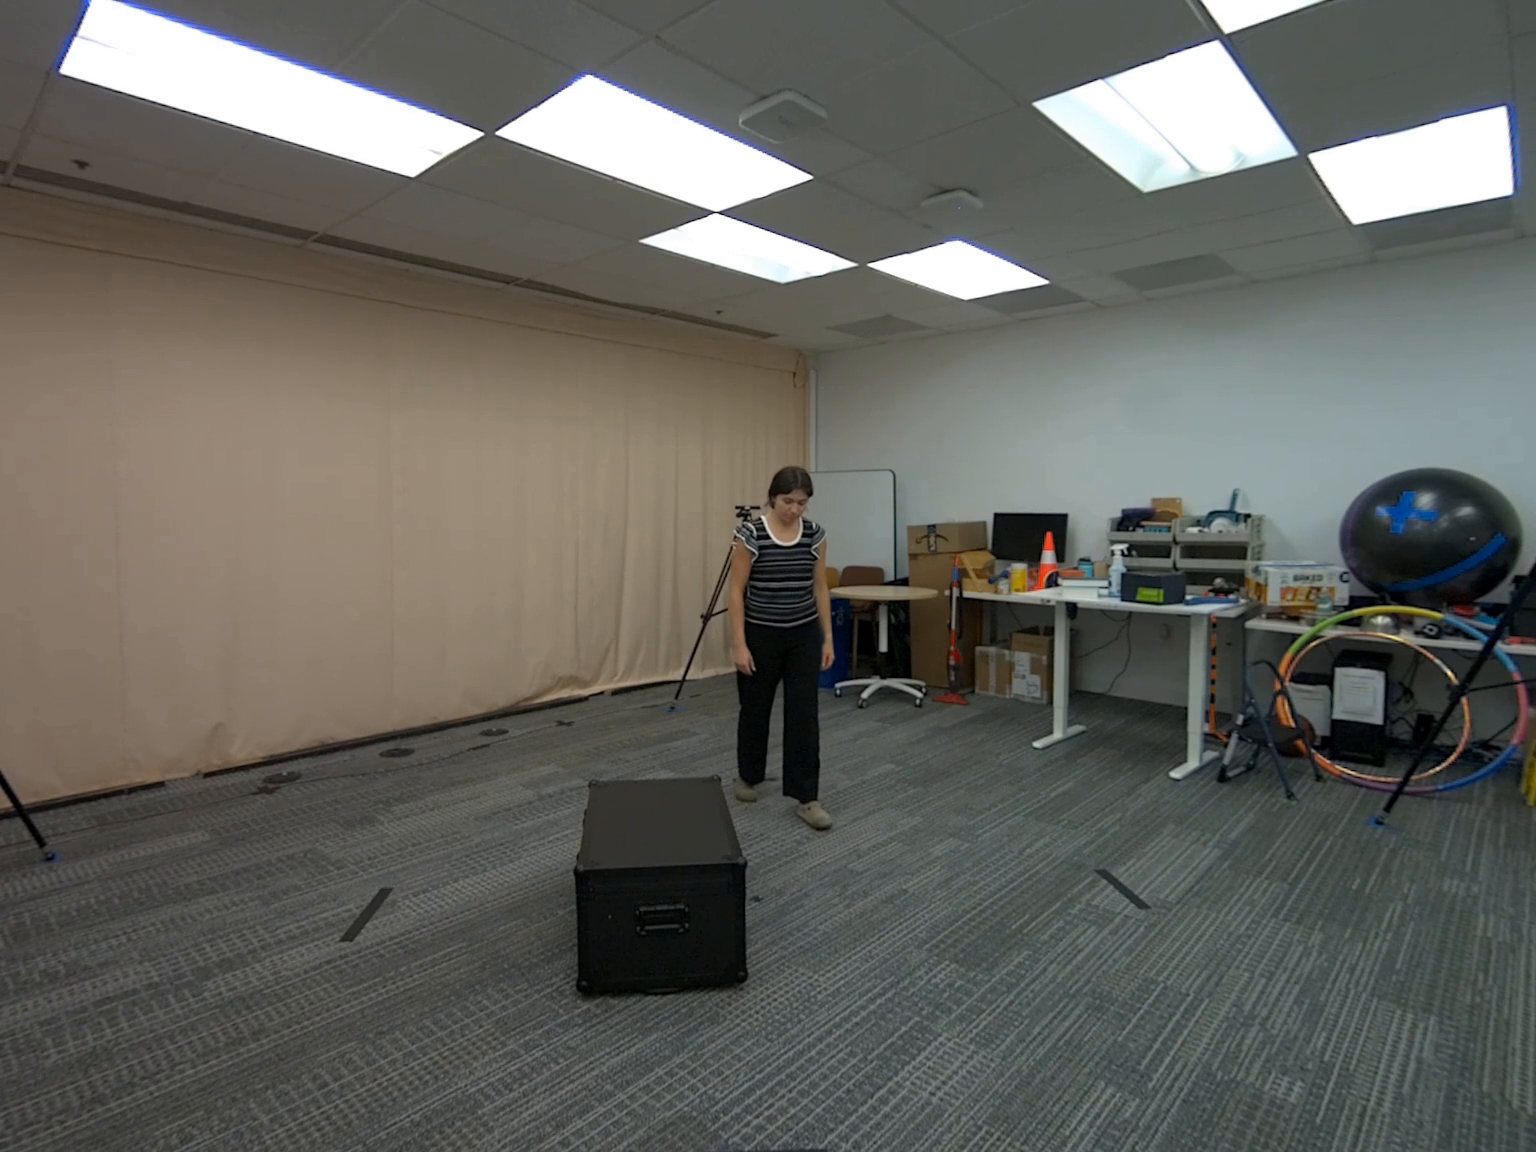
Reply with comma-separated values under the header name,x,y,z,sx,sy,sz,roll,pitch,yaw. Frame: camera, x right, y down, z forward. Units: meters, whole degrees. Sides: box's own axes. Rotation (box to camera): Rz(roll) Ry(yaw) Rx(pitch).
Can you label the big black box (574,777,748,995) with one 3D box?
name,x,y,z,sx,sy,sz,roll,pitch,yaw
big black box,-0.361,0.967,2.802,0.517,0.395,0.870,-1,4,-8
